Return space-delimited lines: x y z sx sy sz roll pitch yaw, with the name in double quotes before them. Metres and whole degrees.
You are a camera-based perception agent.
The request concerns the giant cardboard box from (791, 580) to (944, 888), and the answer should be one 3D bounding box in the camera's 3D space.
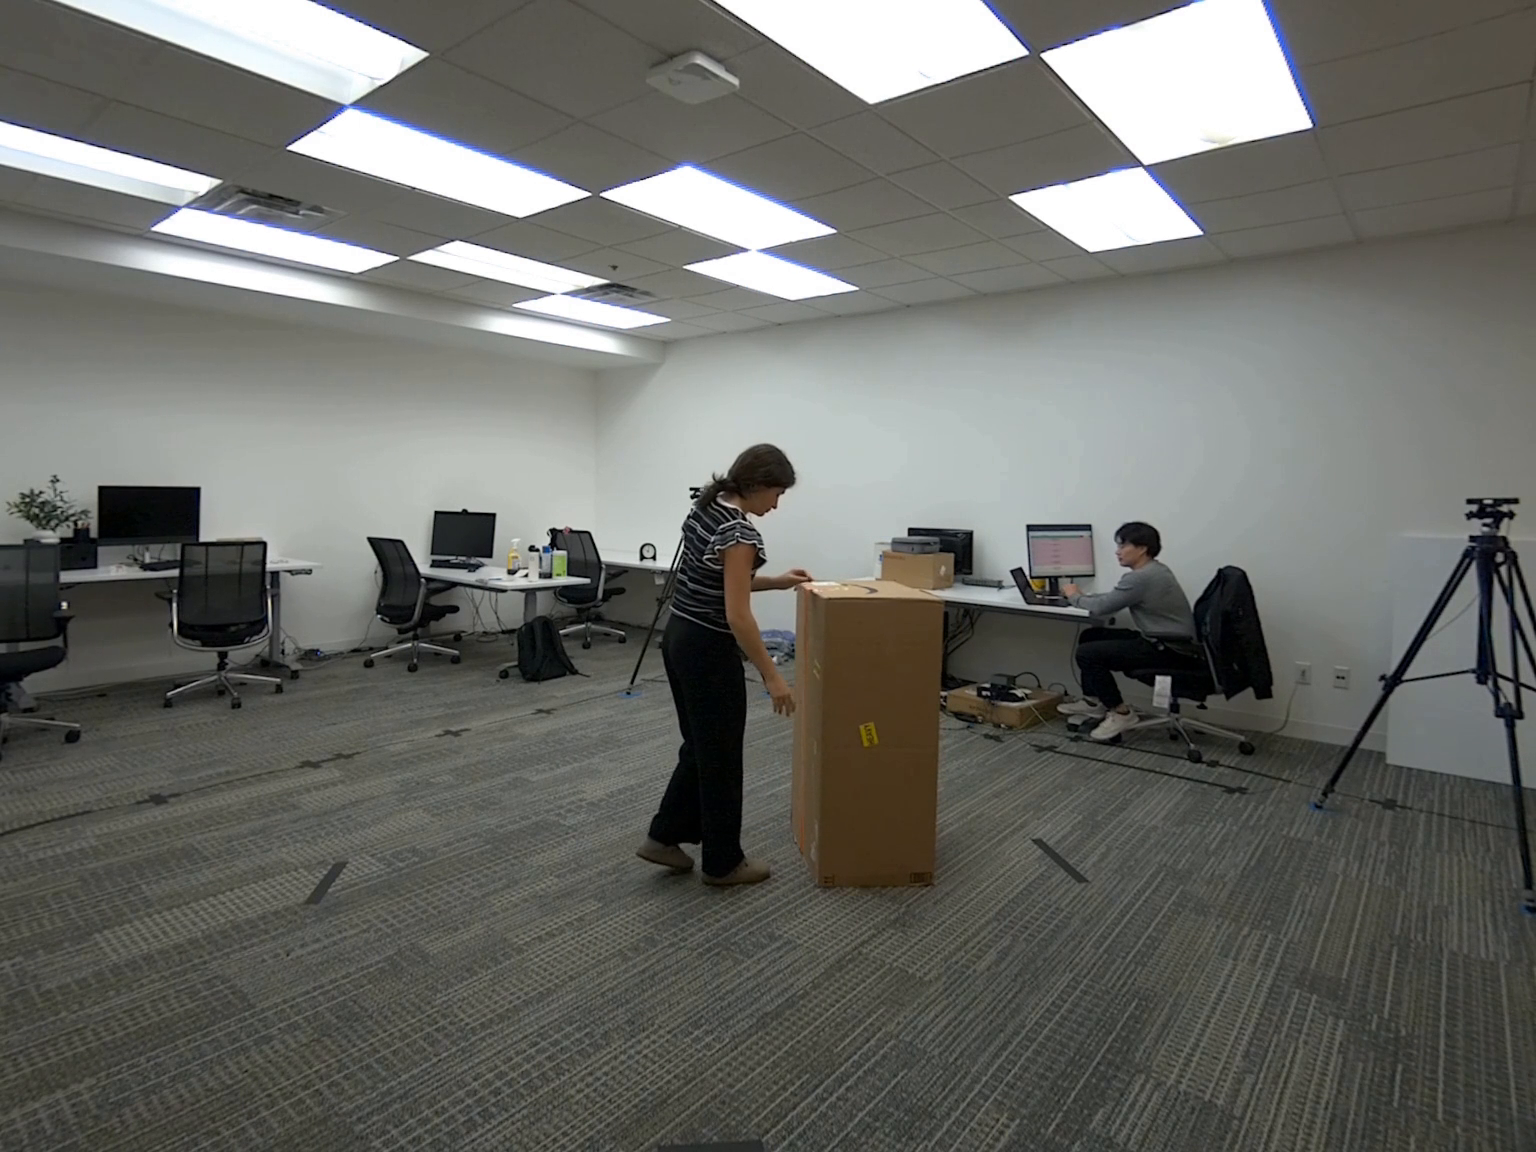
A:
"giant cardboard box" 0.348 0.555 3.260 0.423 1.022 0.584 1 4 -9
